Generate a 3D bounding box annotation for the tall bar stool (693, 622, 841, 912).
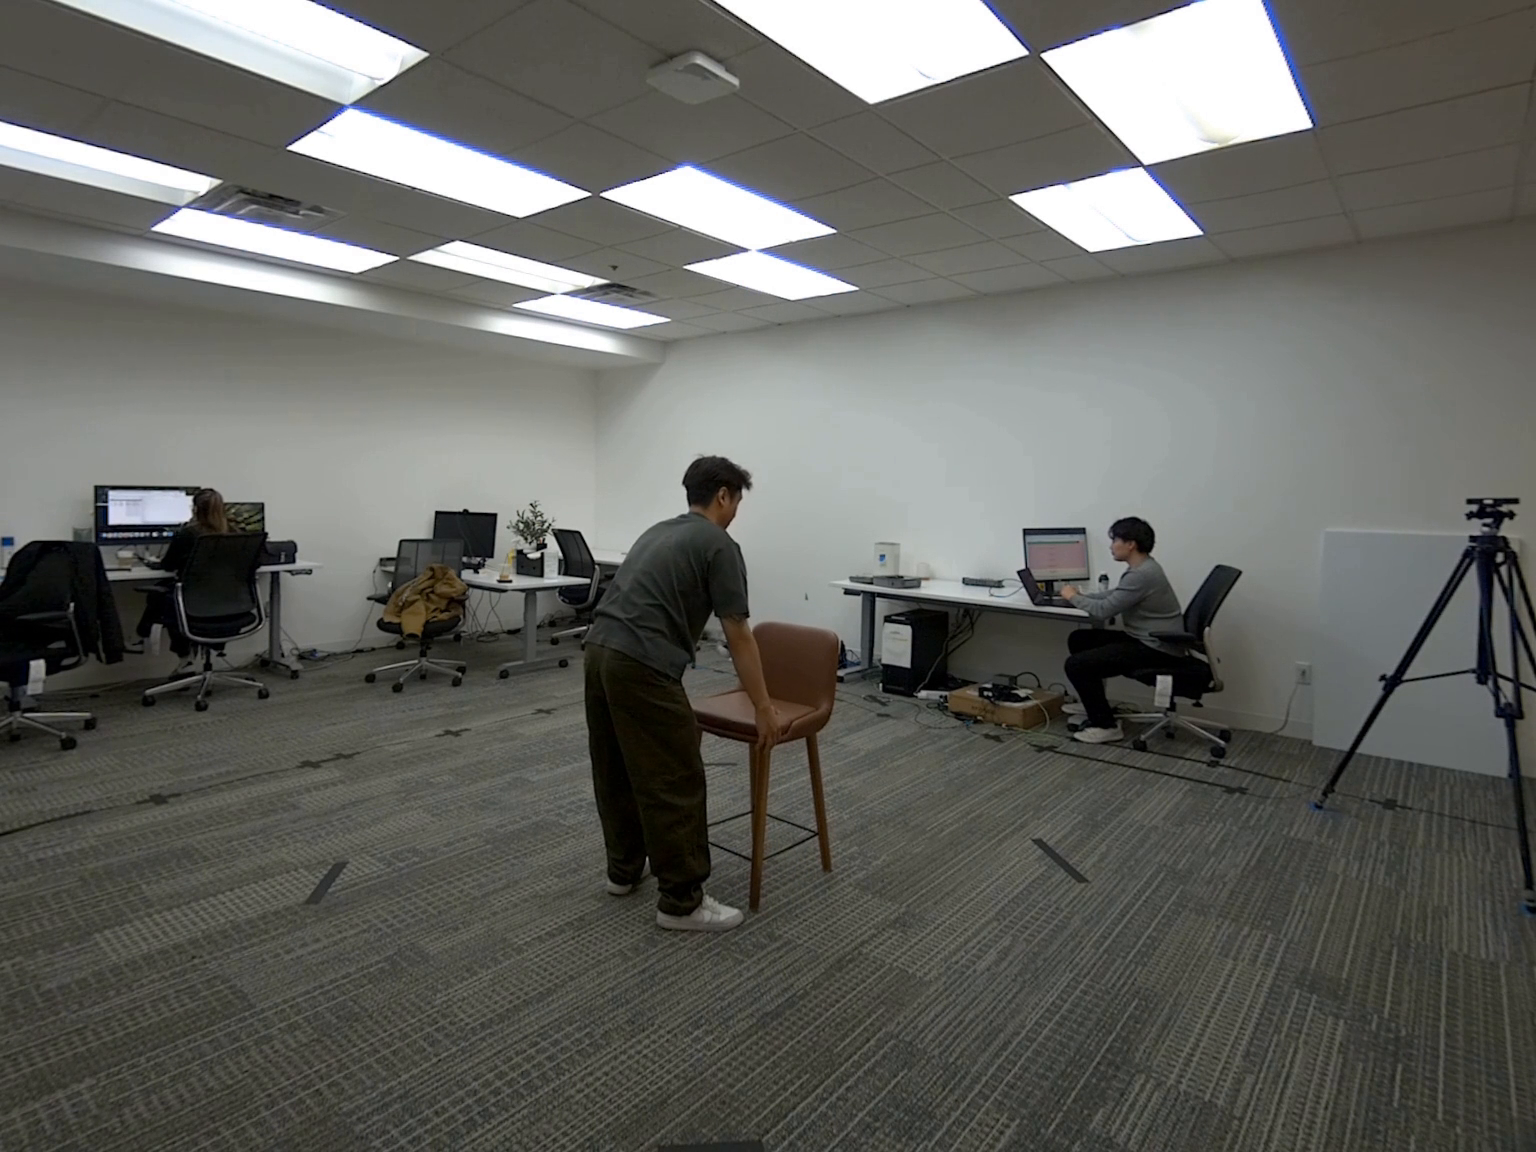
[{"bbox_3d":[-0.053,0.632,3.079,0.472,0.889,0.452,4,2,43],"label":"tall bar stool"}]
